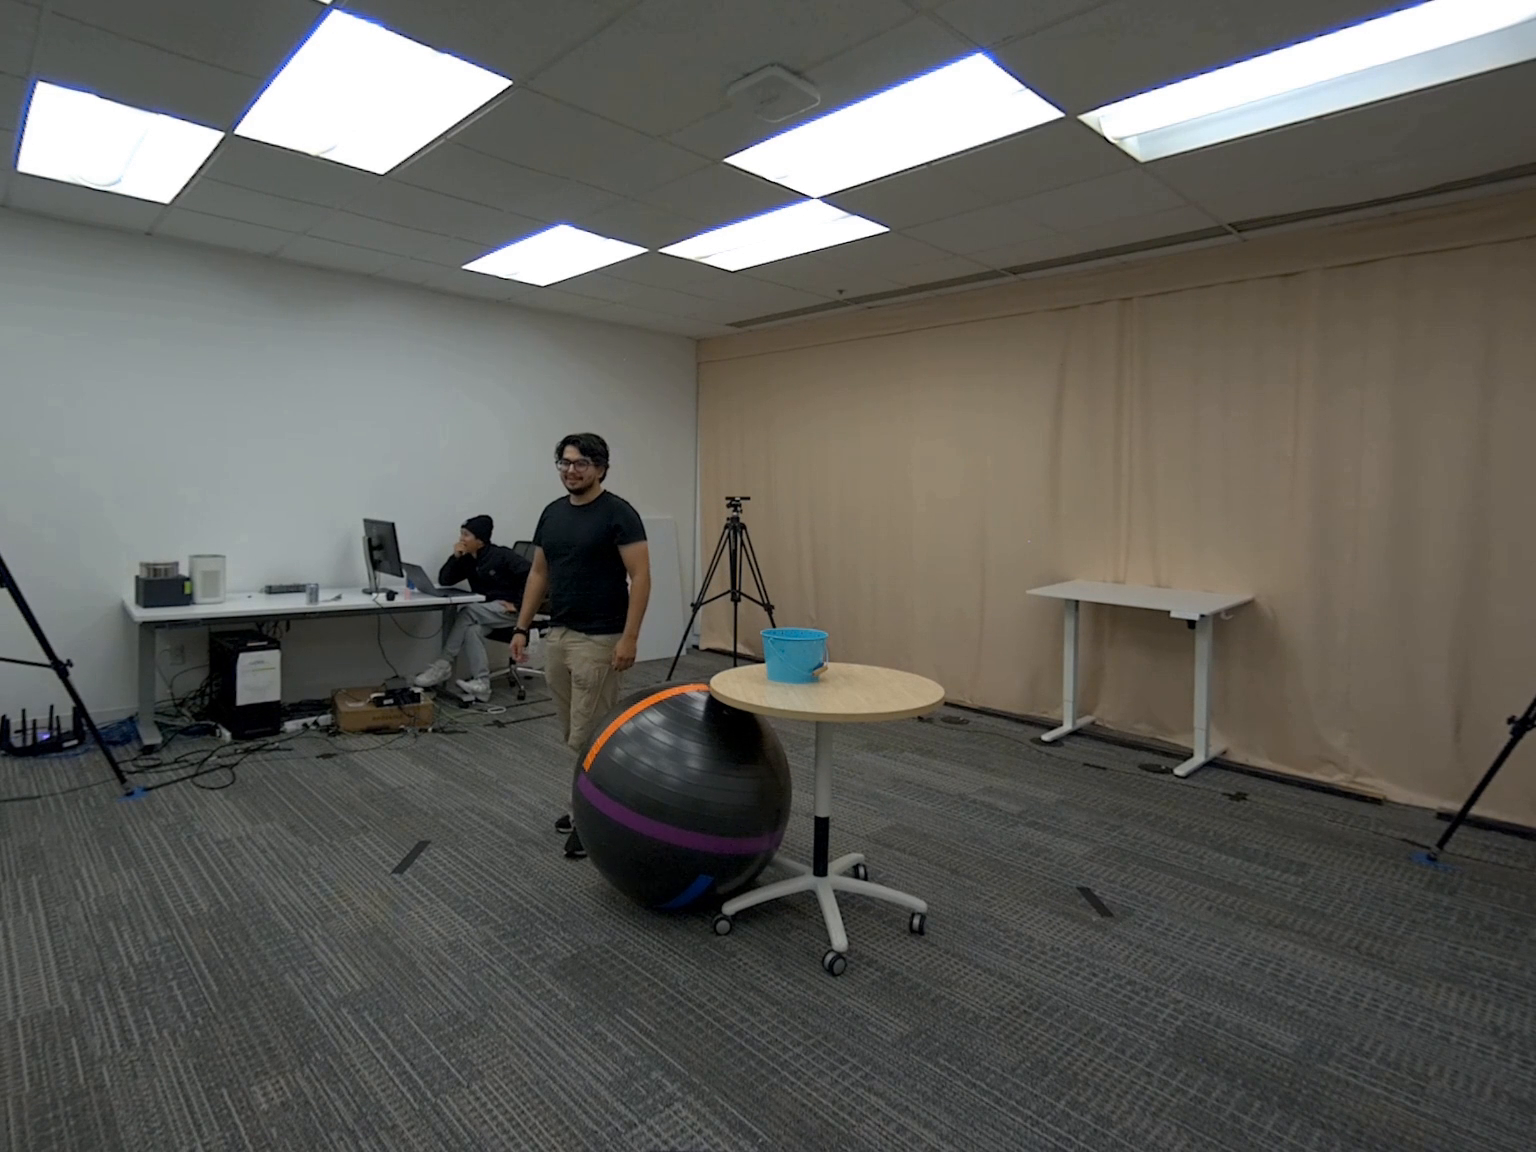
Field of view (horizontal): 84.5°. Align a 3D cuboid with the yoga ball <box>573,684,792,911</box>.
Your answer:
[{"bbox_3d":[-0.306,0.752,2.925,0.757,0.756,0.761,1,4,-1],"label":"yoga ball"}]
